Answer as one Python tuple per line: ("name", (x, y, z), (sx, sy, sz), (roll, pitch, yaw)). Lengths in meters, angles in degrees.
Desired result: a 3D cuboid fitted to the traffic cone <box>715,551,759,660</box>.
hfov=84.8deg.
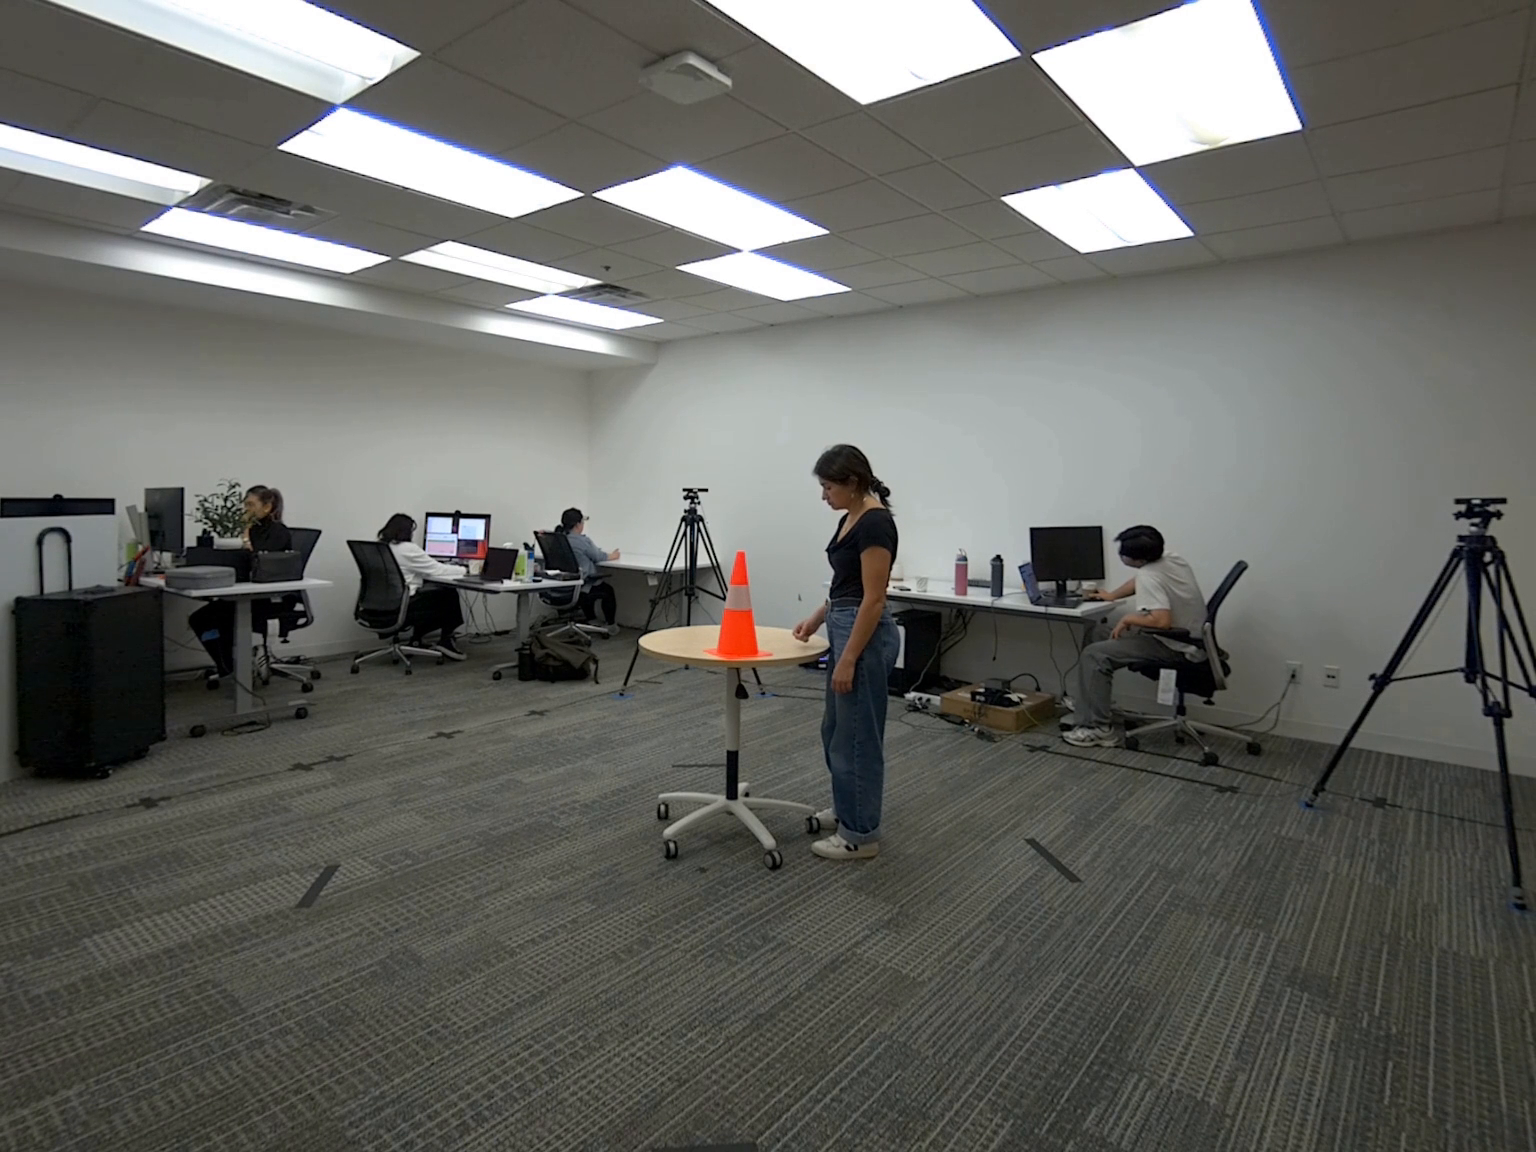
("traffic cone", (-0.105, 0.095, 3.169), (0.199, 0.382, 0.209), (1, 4, -28))
